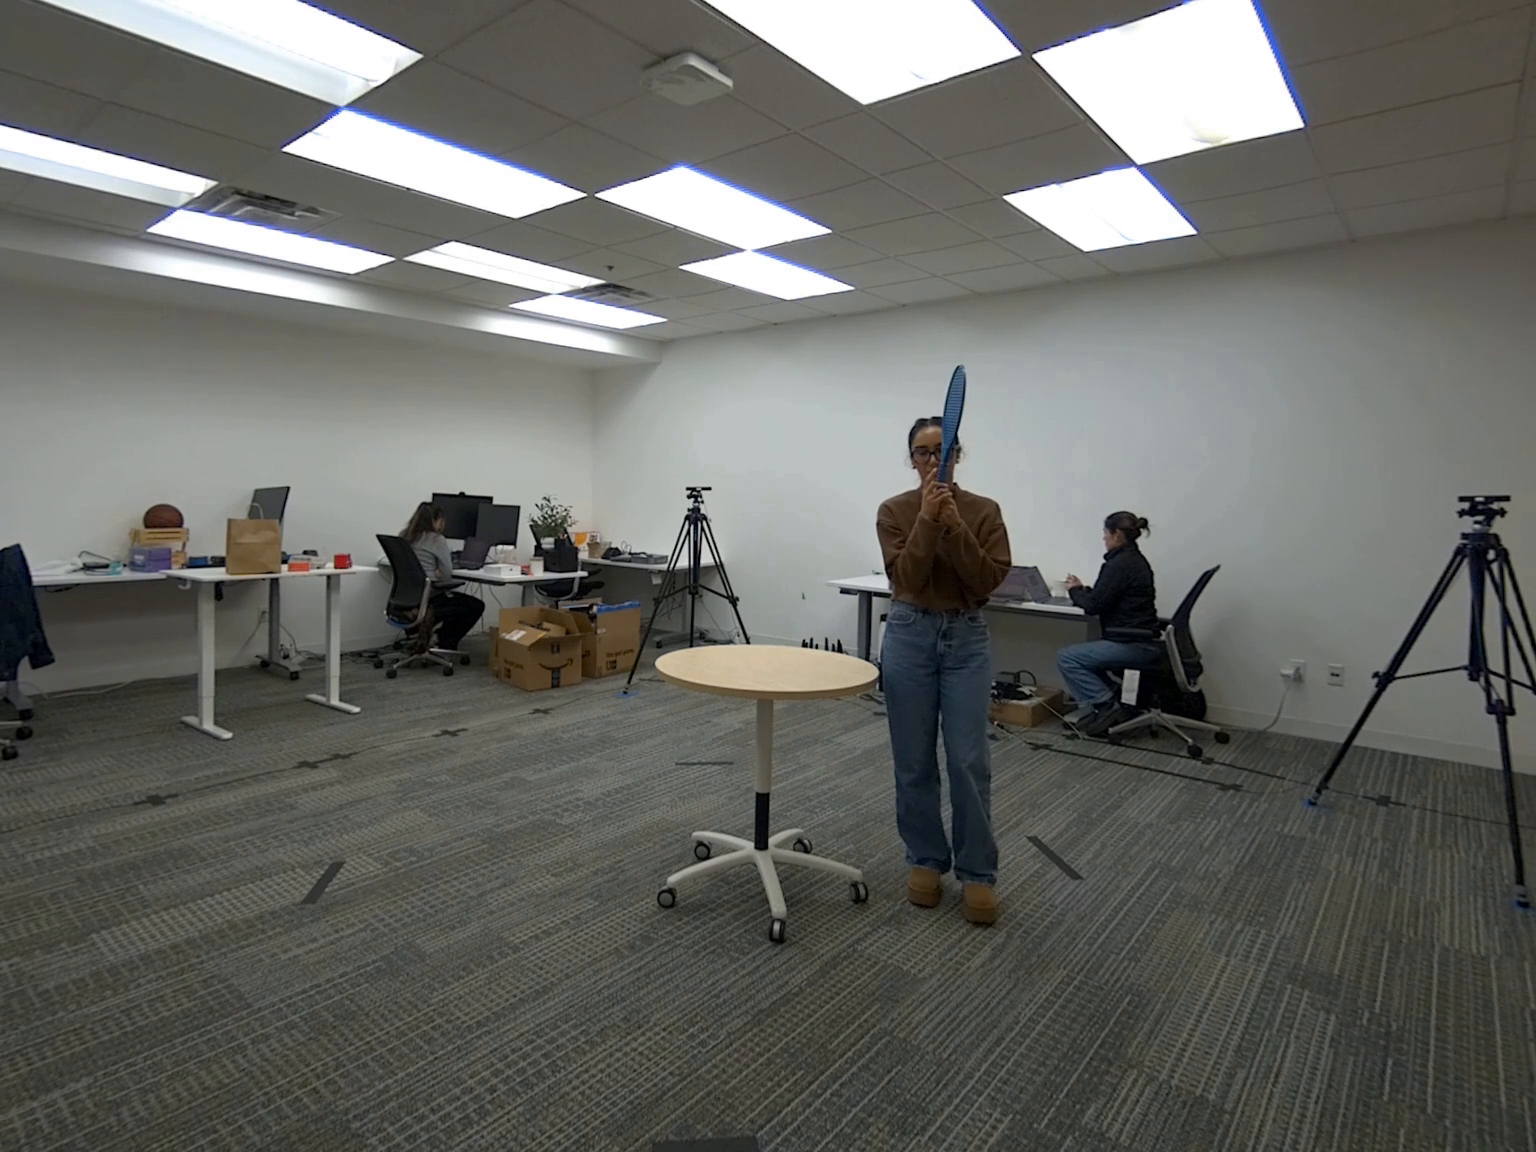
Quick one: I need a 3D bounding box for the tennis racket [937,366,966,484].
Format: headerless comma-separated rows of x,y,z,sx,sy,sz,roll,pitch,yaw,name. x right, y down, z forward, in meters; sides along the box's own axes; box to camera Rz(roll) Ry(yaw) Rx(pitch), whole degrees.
0.558,-0.461,2.704,0.032,0.428,0.216,10,15,-3,tennis racket
